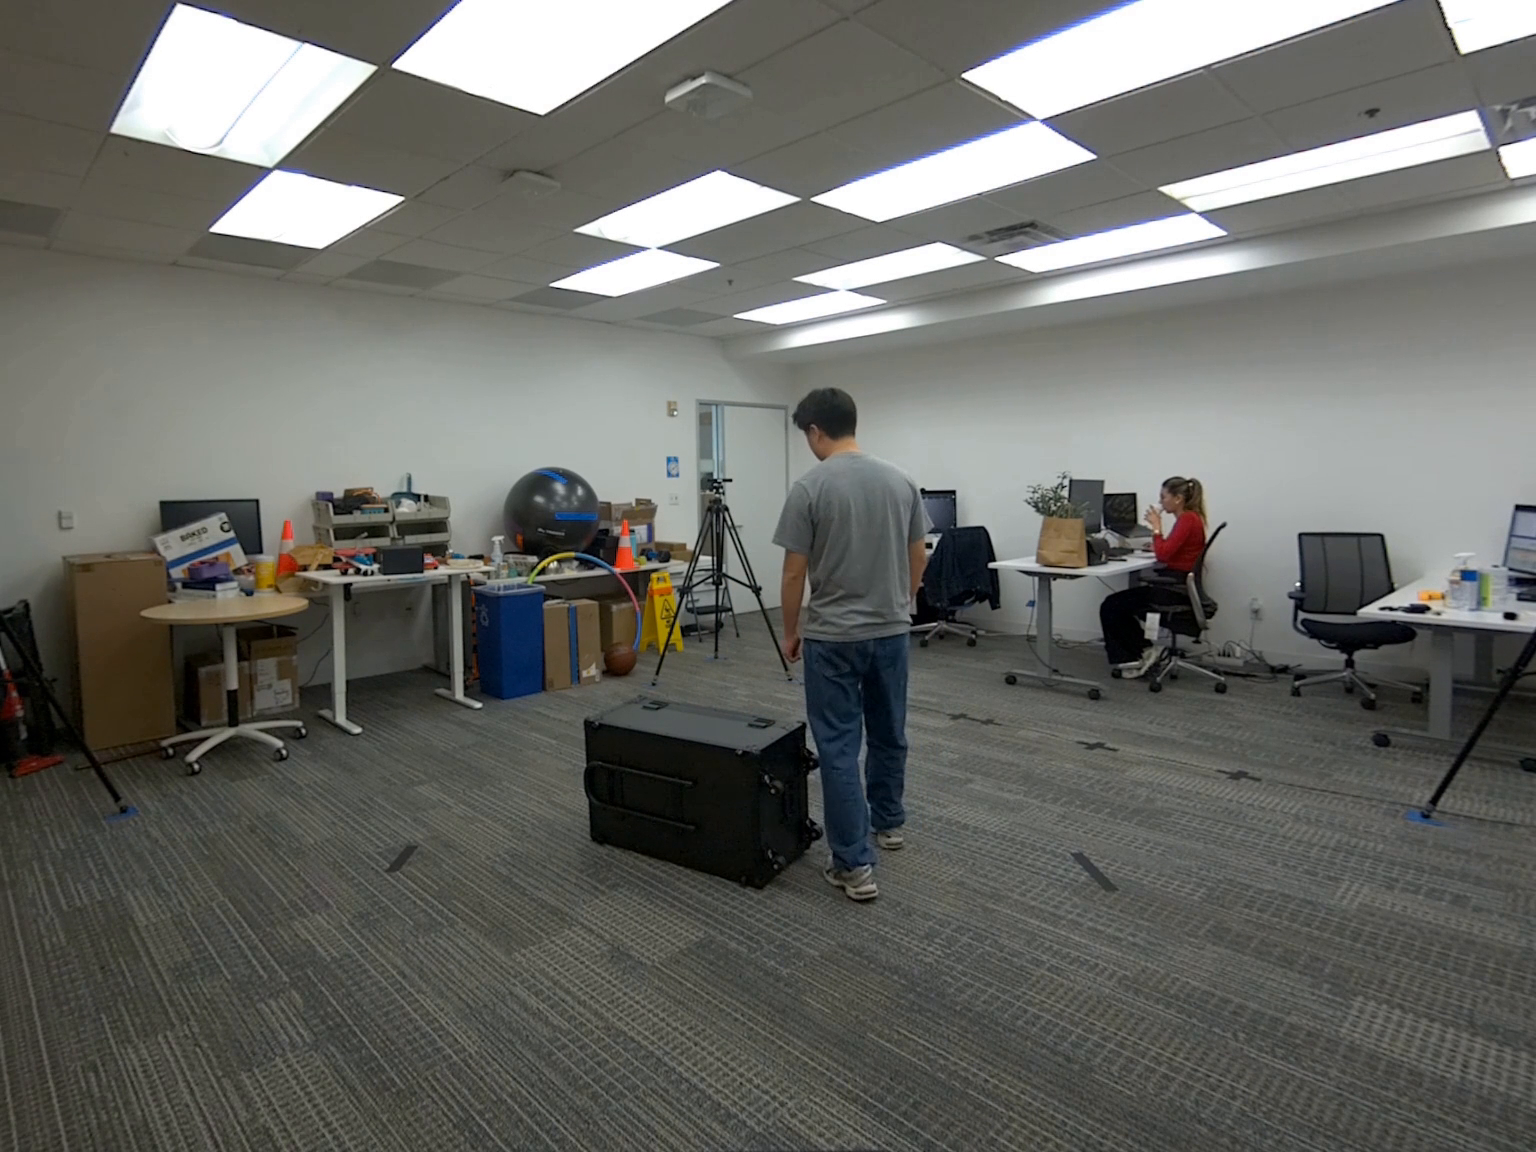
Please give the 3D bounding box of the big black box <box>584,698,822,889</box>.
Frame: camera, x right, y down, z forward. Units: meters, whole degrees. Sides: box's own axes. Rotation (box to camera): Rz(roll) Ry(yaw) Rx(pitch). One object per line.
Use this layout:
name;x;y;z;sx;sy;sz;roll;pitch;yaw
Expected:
big black box;-0.256;0.779;3.210;0.885;0.518;0.388;2;8;32
